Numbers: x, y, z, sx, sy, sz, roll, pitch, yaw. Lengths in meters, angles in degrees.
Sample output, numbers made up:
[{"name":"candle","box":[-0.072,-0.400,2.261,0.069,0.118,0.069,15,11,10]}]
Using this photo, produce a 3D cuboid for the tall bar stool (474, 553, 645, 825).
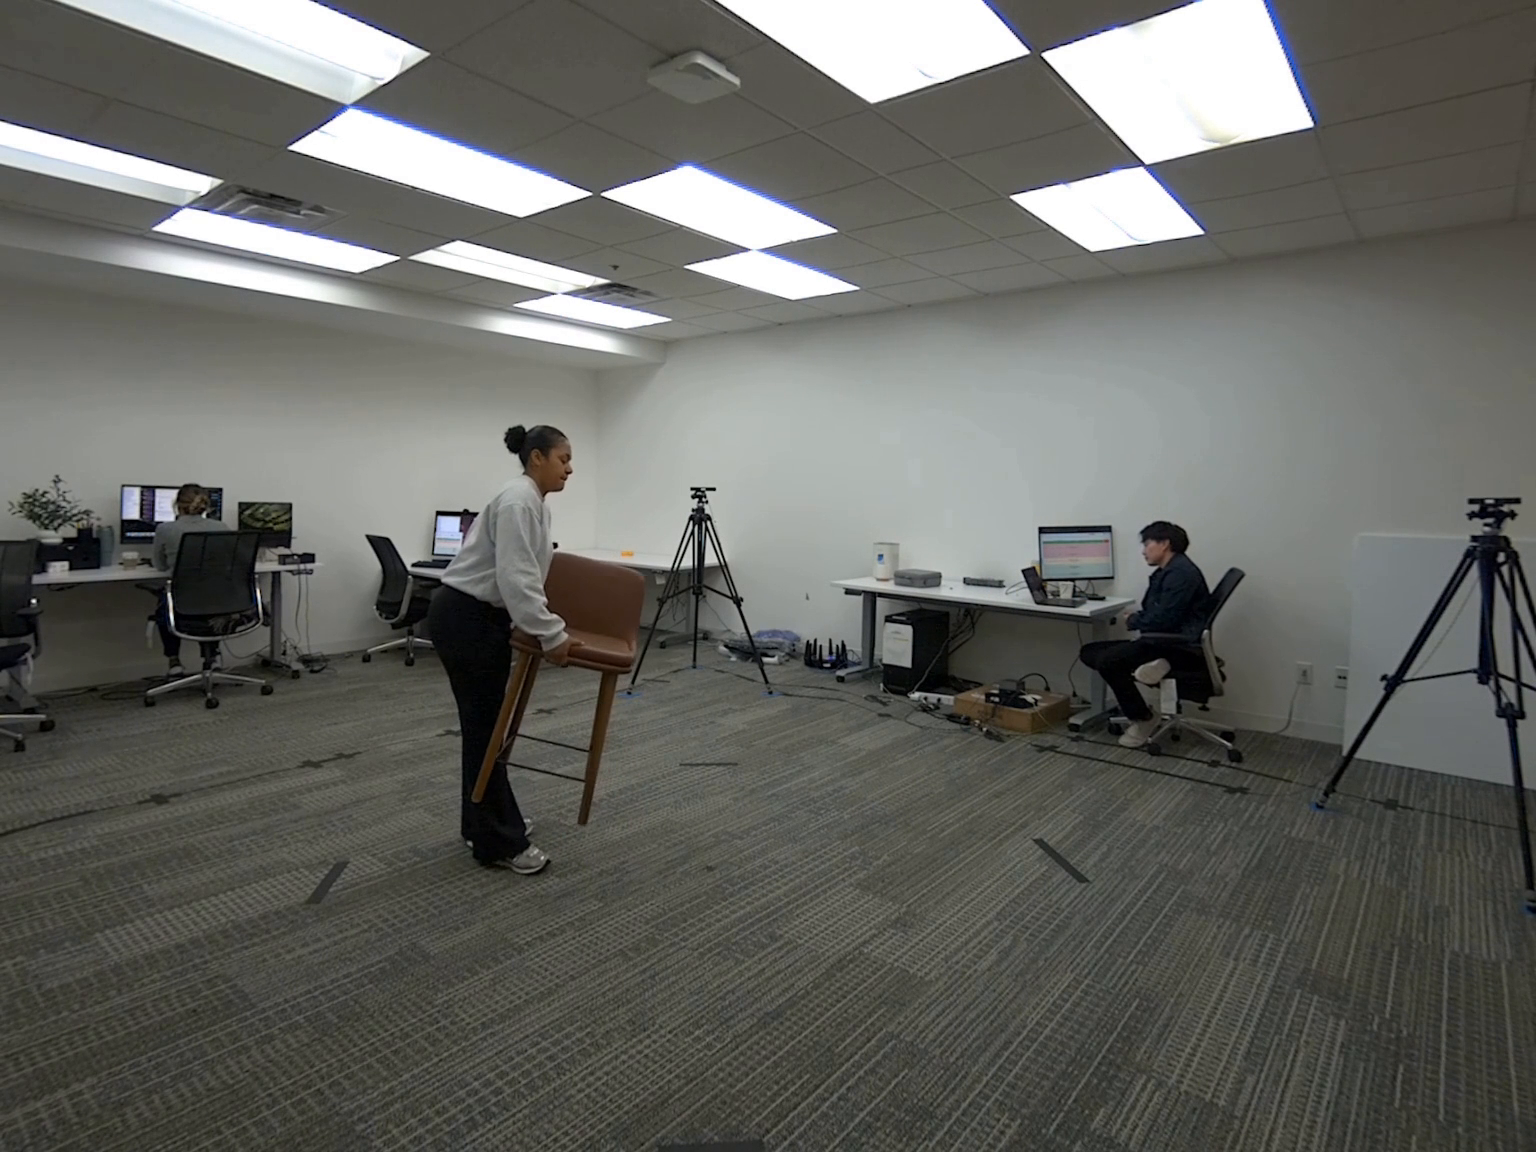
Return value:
[{"name":"tall bar stool","box":[-0.762,0.388,3.176,0.453,0.890,0.472,15,0,-8]}]
